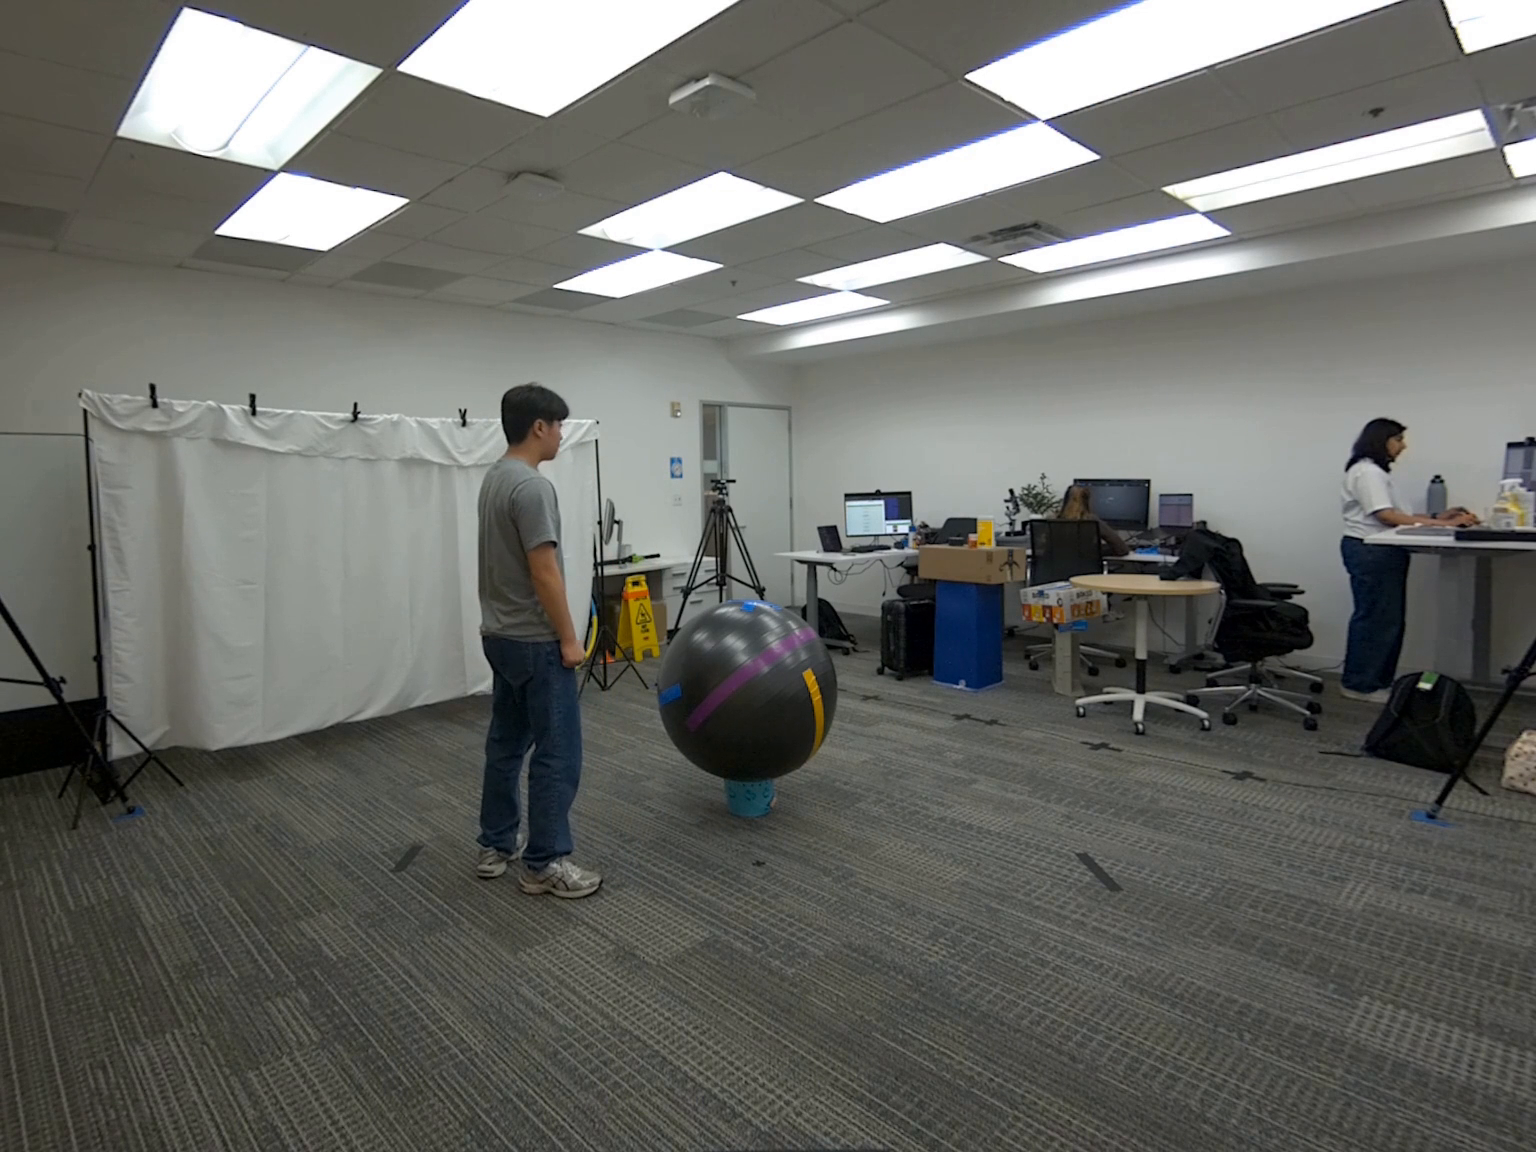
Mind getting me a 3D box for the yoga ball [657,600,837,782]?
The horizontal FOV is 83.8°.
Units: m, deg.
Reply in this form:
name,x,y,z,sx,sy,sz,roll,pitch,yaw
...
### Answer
name,x,y,z,sx,sy,sz,roll,pitch,yaw
yoga ball,-0.088,0.484,3.608,0.757,0.755,0.762,-1,5,-2
